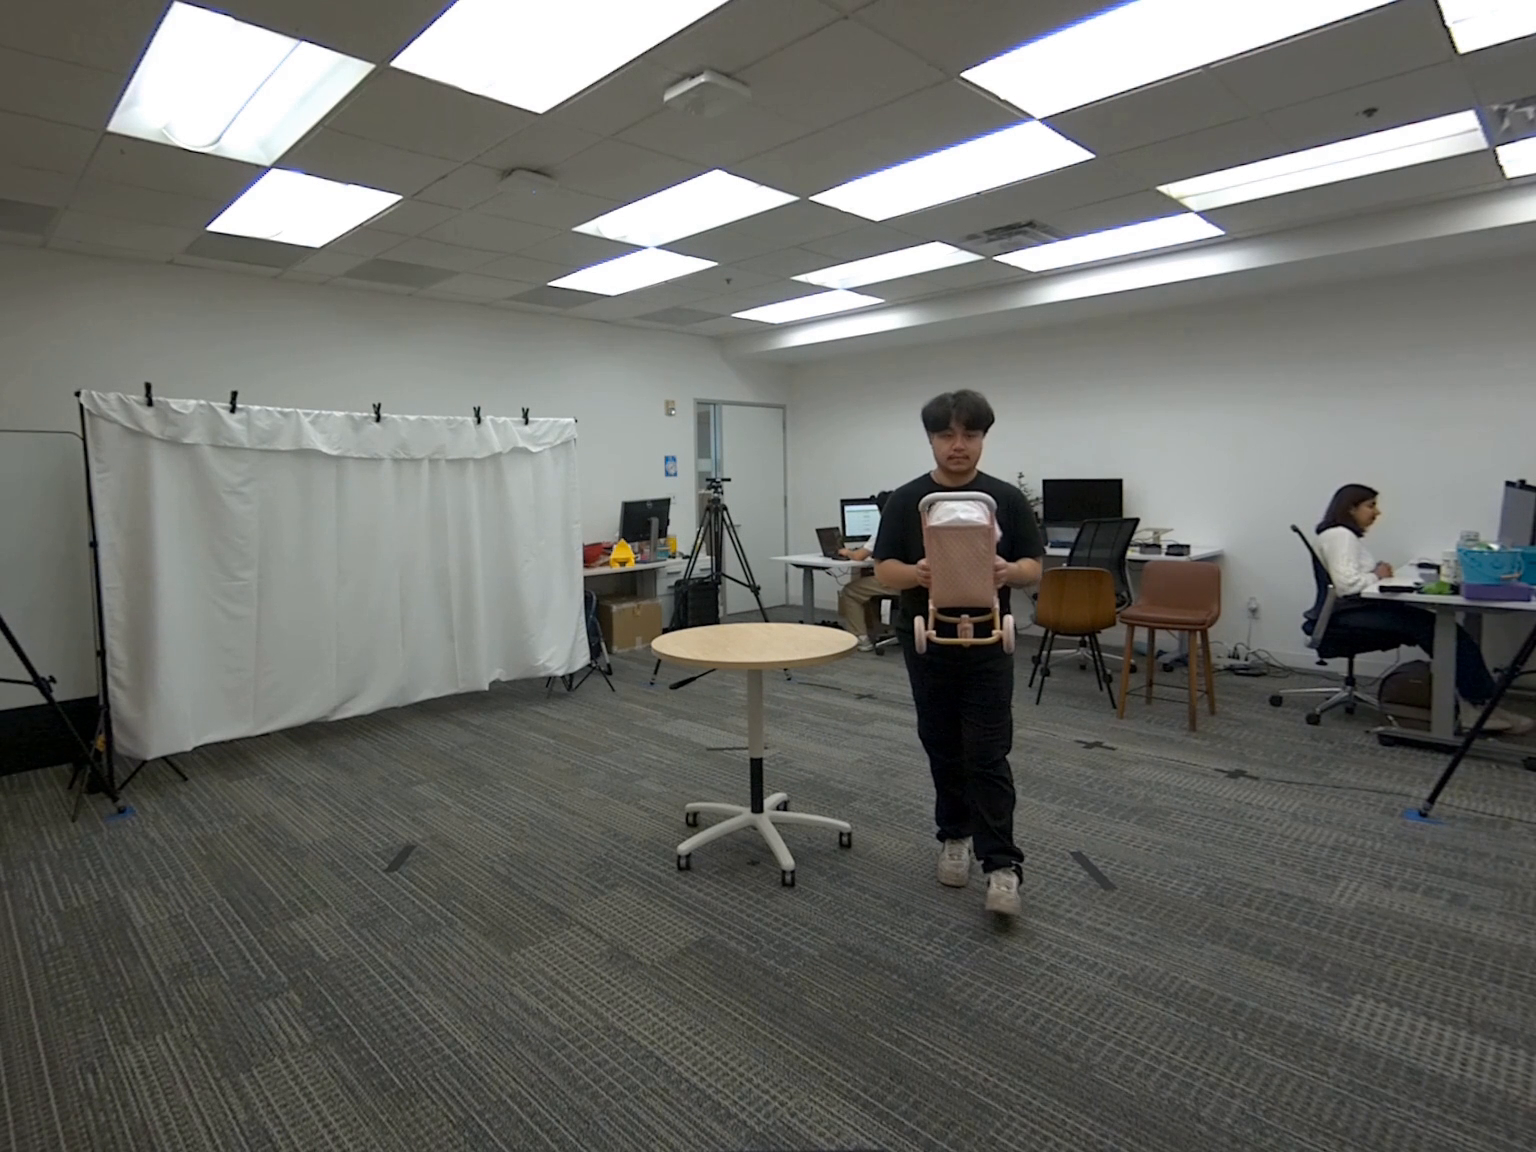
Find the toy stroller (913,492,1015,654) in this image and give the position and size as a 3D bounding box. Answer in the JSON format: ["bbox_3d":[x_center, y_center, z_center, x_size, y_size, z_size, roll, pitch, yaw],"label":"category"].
[{"bbox_3d":[0.594,0.000,2.556,0.286,0.529,0.339,-2,11,18],"label":"toy stroller"}]
